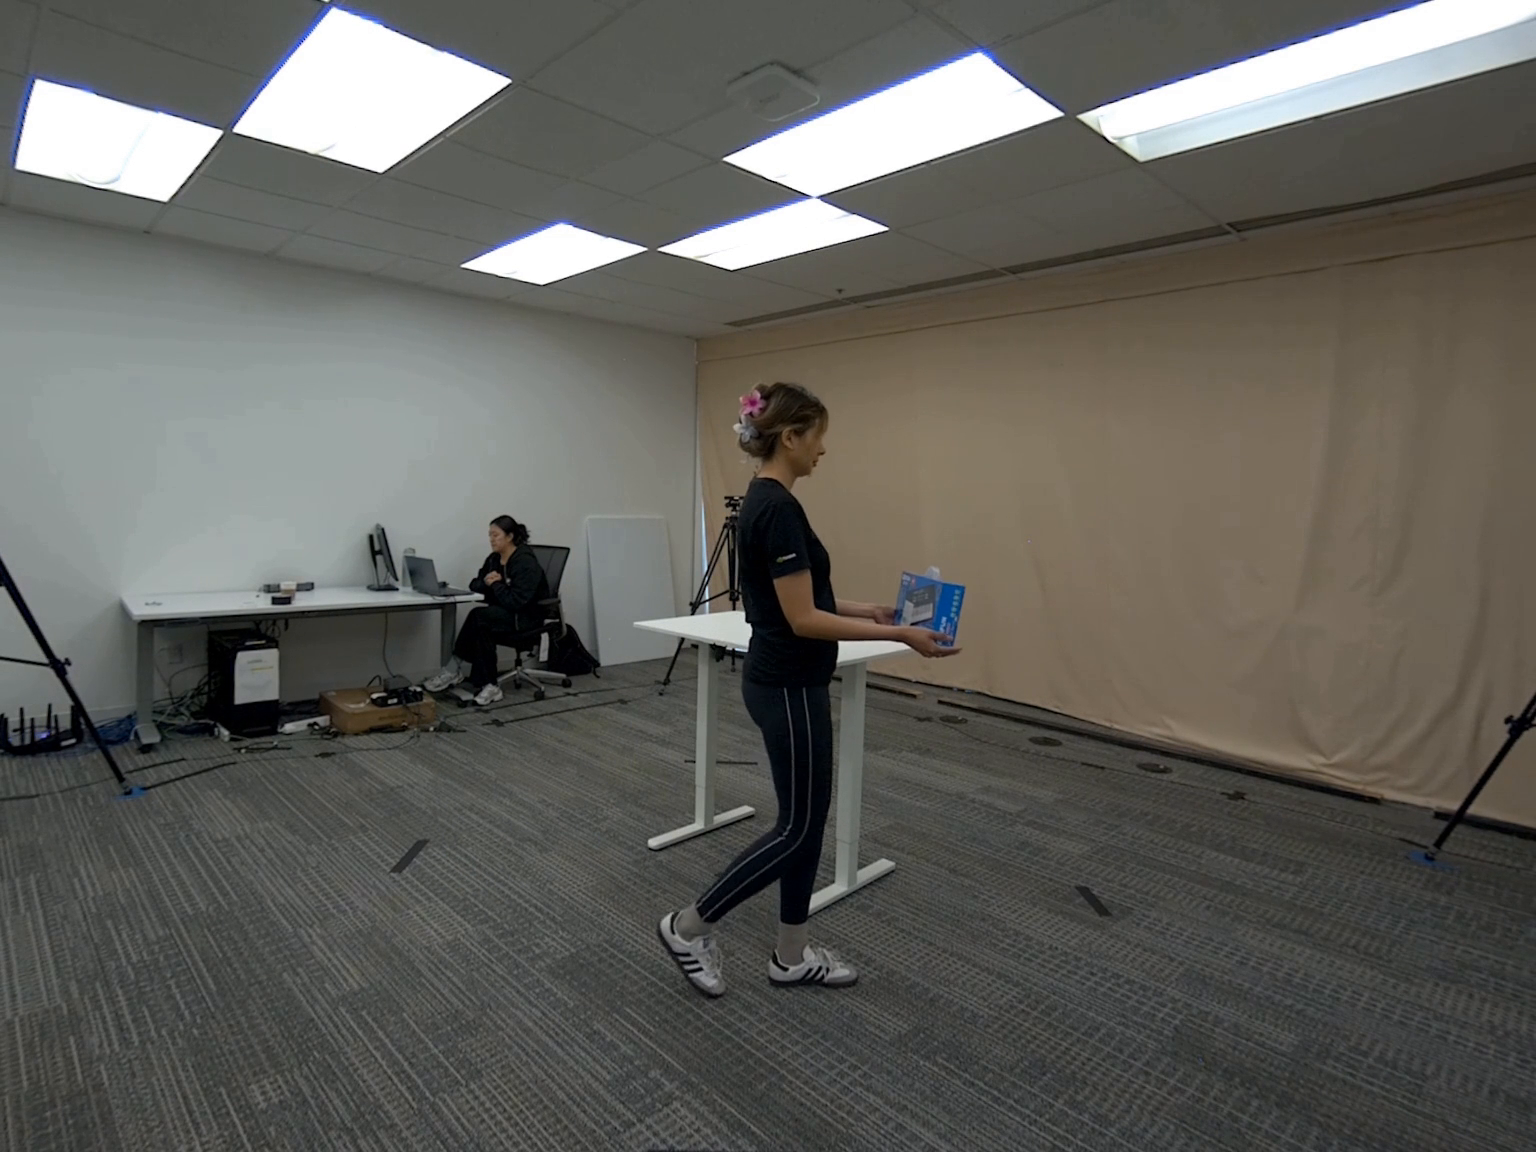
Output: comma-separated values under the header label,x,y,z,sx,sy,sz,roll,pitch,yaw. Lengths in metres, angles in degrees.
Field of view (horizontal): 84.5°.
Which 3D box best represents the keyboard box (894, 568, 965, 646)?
label,x,y,z,sx,sy,sz,roll,pitch,yaw
keyboard box,0.436,0.094,2.346,0.059,0.176,0.438,9,3,-4
